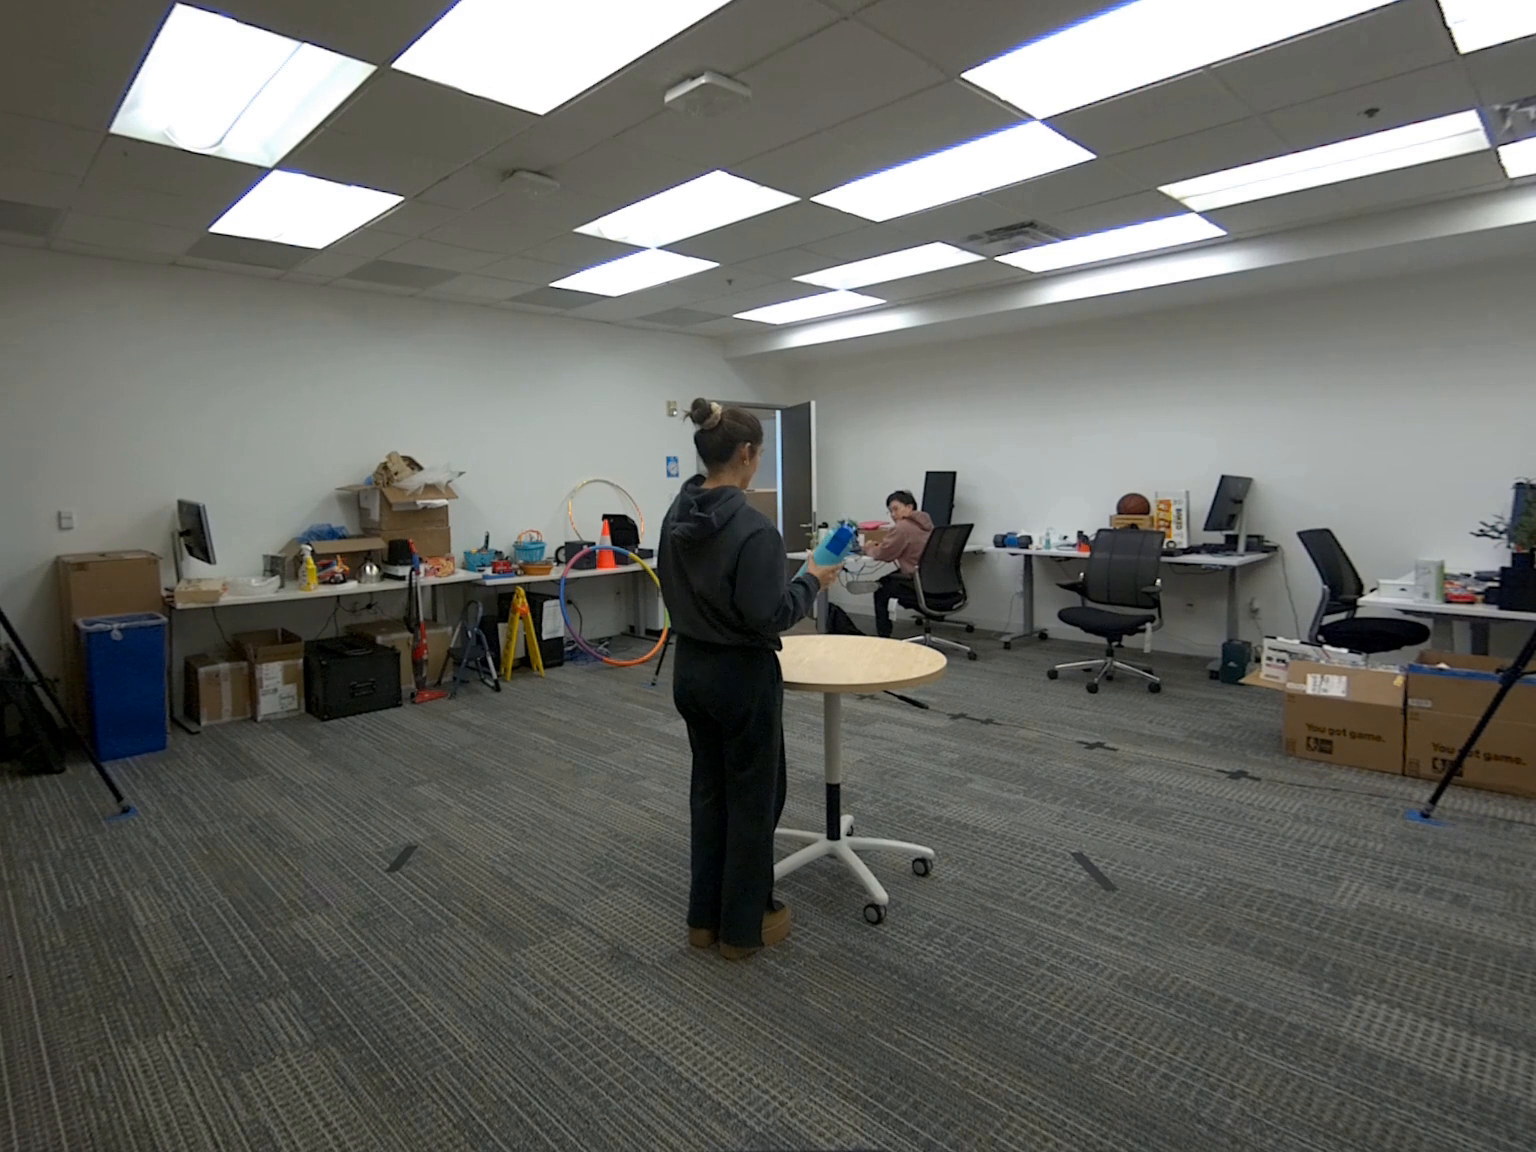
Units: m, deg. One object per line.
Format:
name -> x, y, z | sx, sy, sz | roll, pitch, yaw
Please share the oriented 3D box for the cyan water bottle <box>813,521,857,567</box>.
cyan water bottle -> 0.158, -0.057, 2.582 | 0.091, 0.283, 0.094 | 34, 13, -11
